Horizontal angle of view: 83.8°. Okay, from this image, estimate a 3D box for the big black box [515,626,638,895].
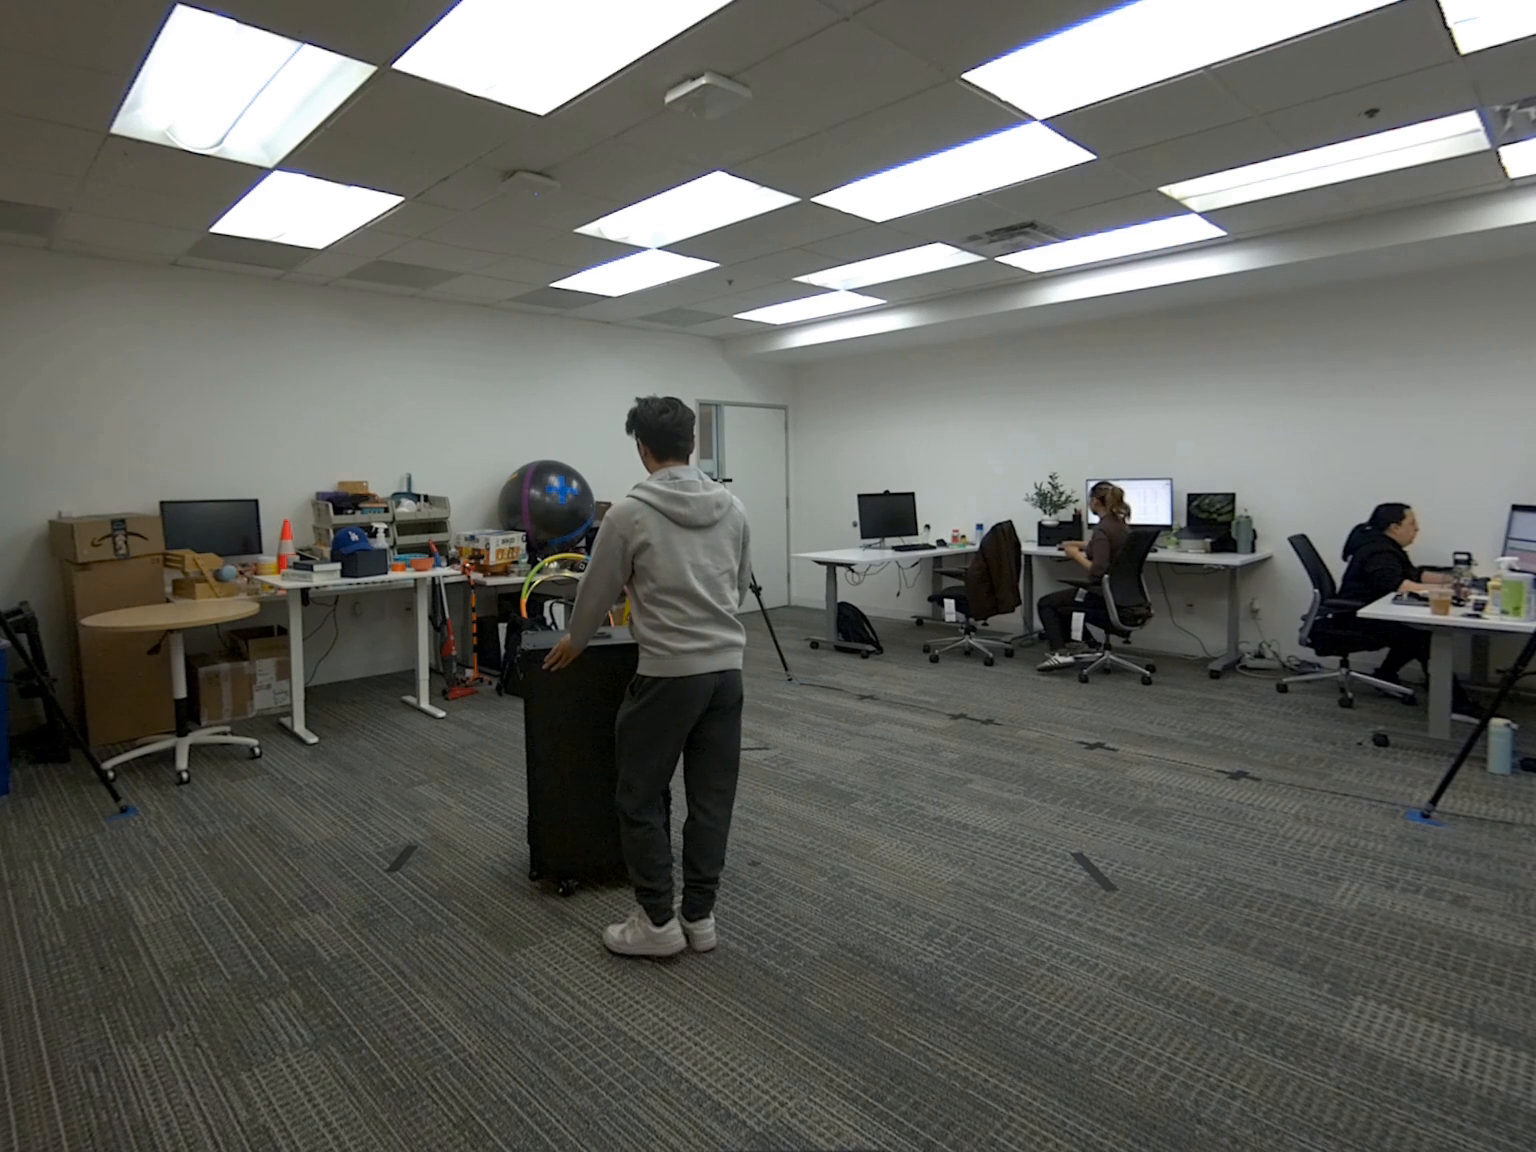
[{"bbox_3d":[-0.629,0.635,3.063,0.514,0.859,0.403,-3,3,-15],"label":"big black box"}]
